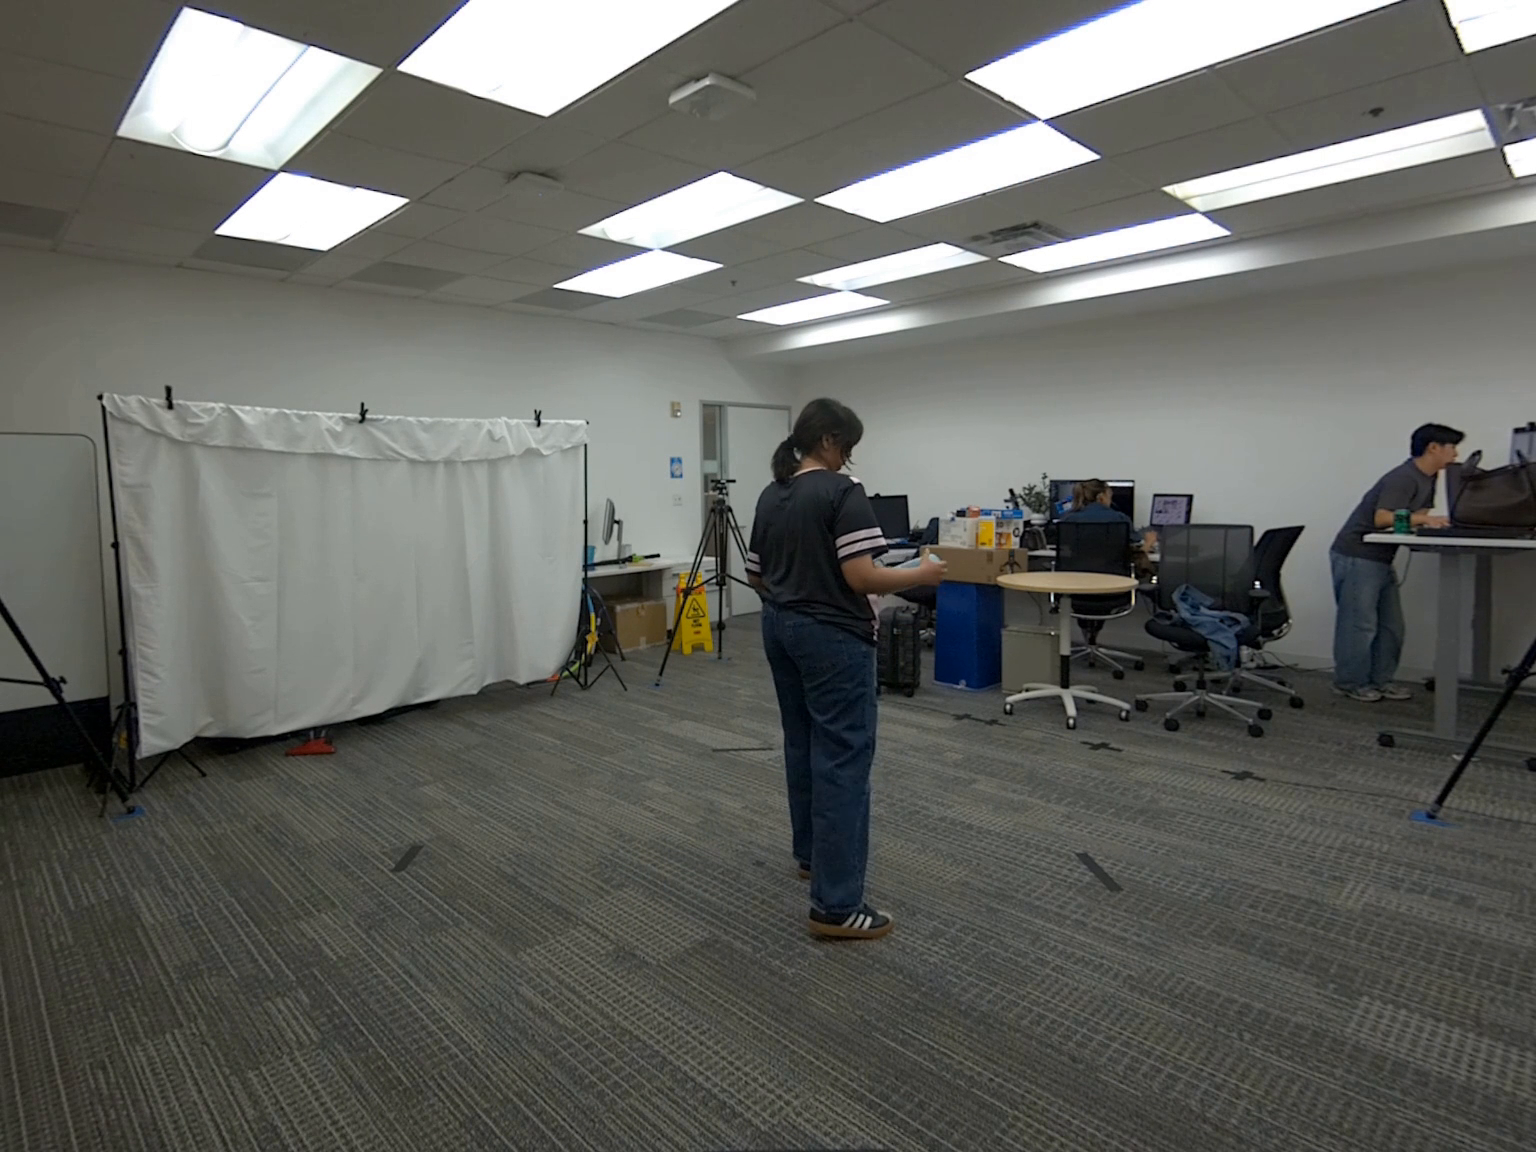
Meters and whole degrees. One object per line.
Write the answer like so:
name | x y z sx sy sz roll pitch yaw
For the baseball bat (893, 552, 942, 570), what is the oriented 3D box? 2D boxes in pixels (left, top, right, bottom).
baseball bat | 0.366 0.047 3.037 0.551 0.090 0.087 -23 -10 38
